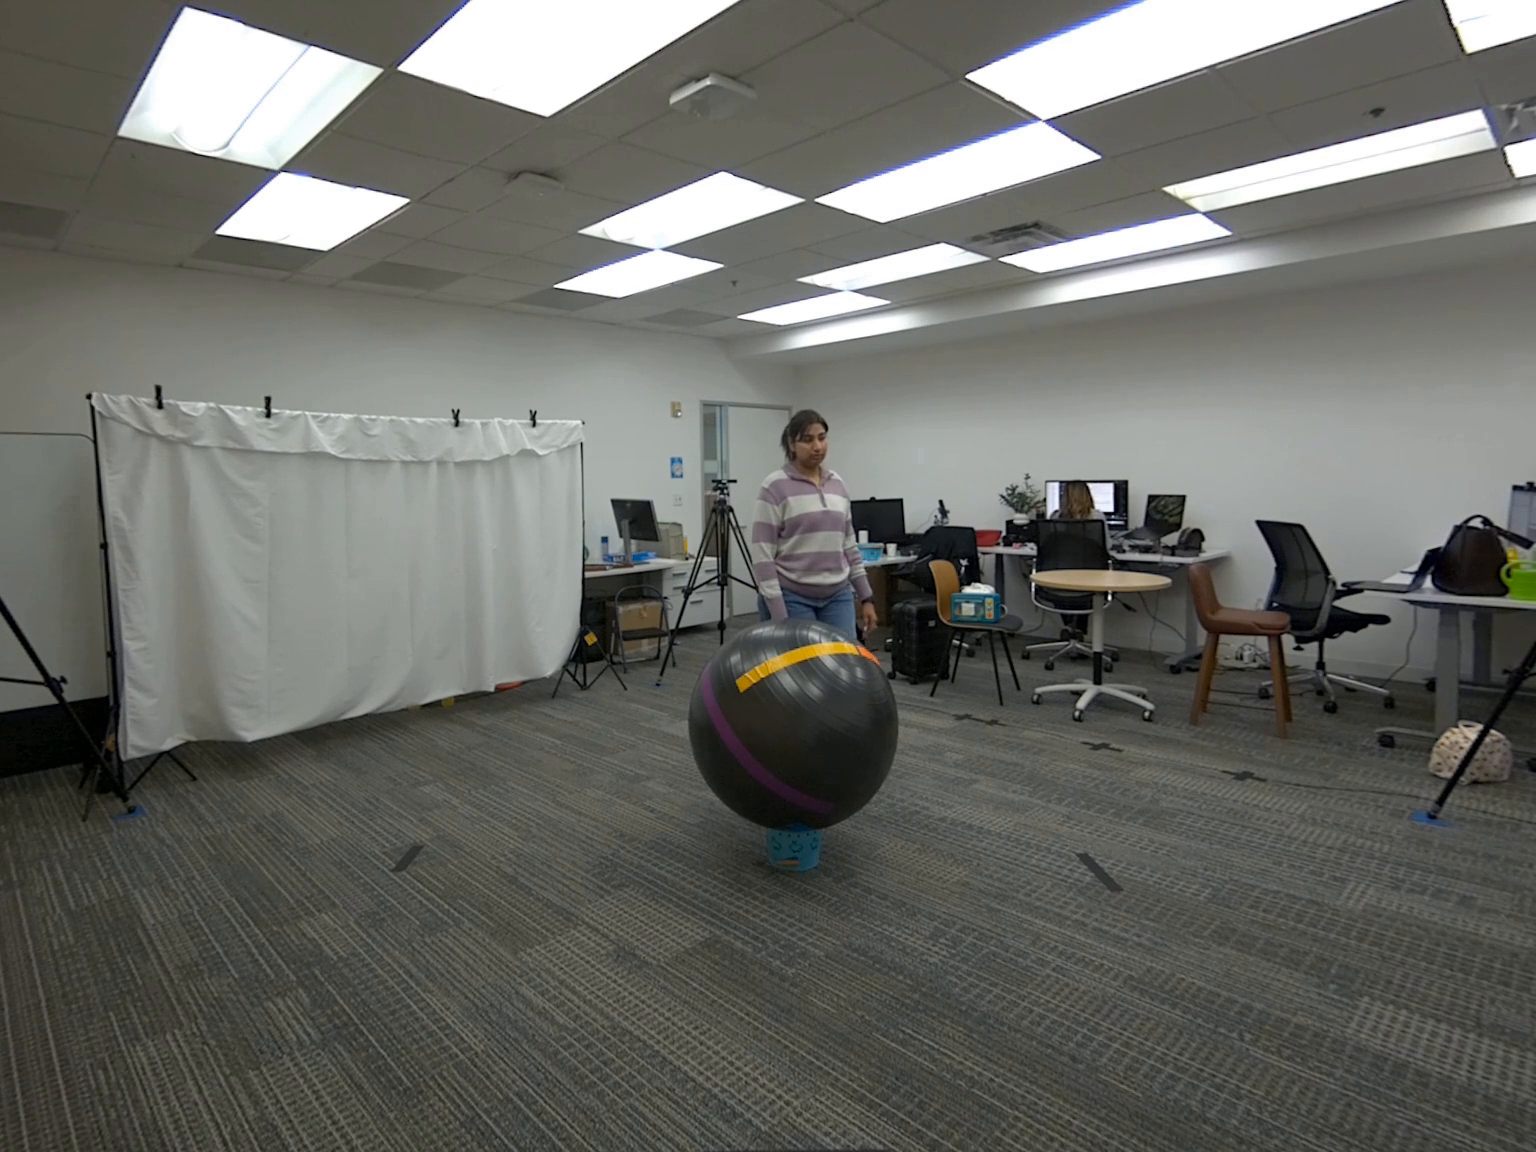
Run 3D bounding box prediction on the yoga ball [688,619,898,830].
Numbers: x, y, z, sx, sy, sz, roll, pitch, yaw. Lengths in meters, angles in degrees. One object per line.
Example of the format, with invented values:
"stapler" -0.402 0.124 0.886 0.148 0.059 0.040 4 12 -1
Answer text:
"yoga ball" 0.088 0.536 3.109 0.757 0.755 0.762 -1 5 -2
